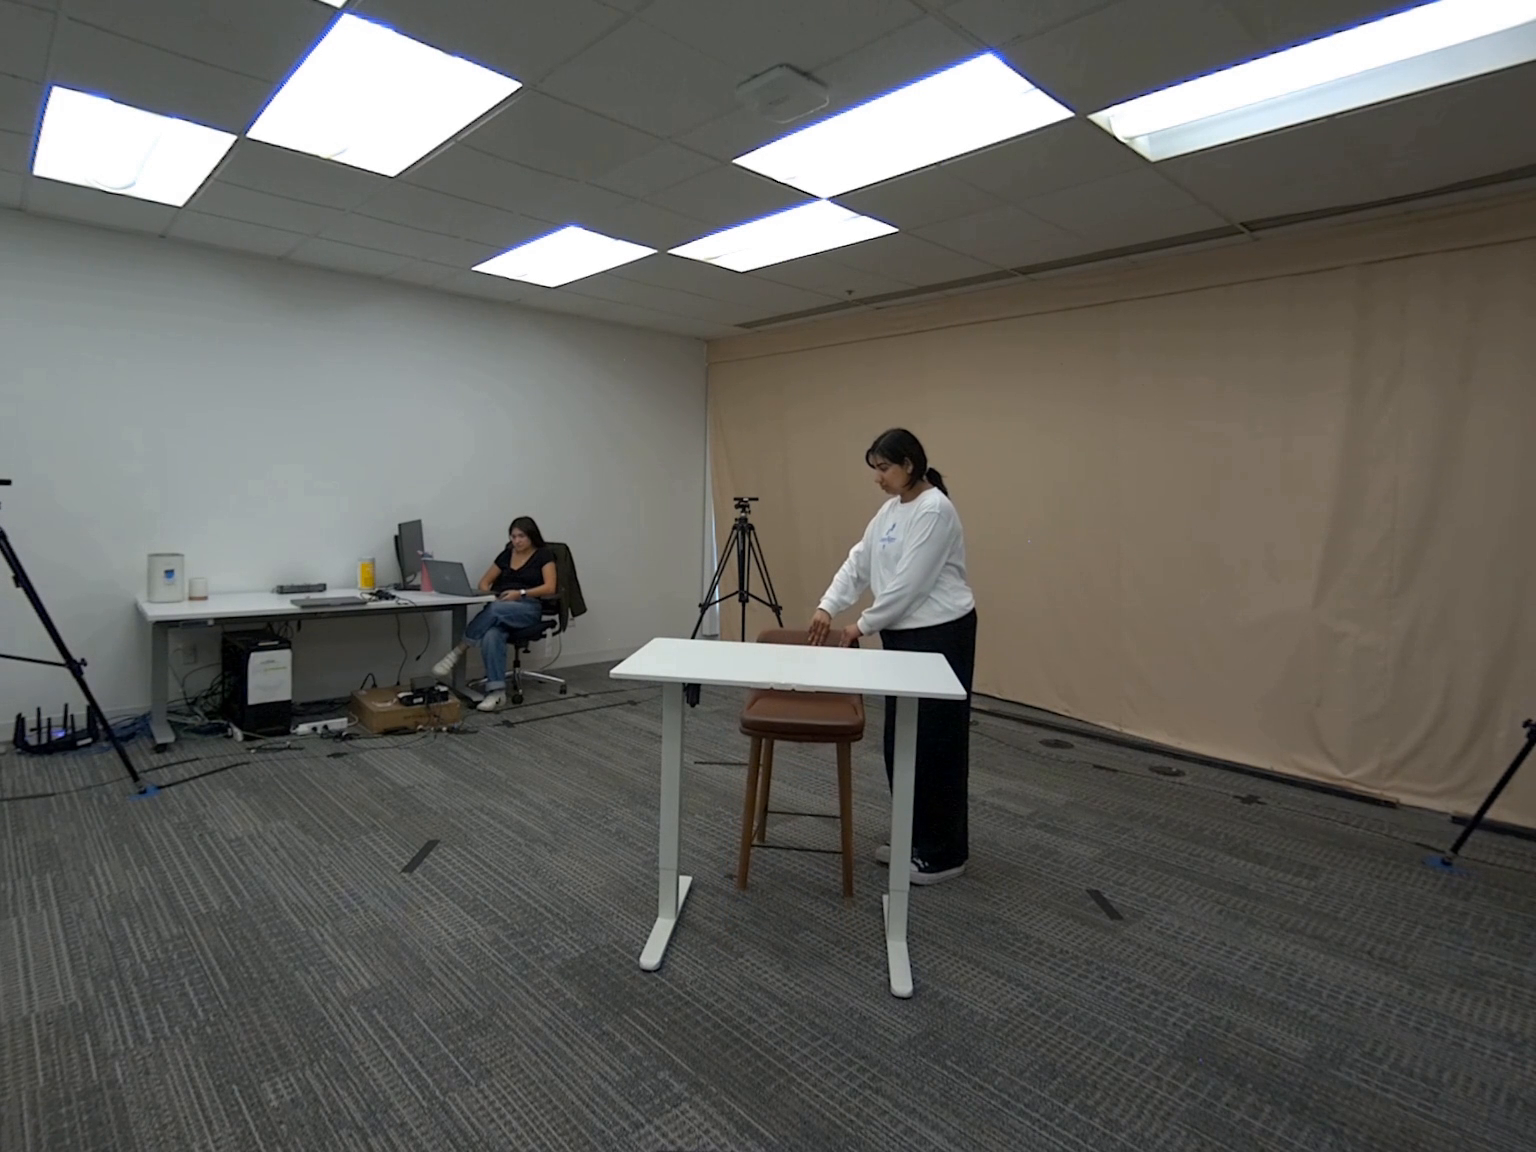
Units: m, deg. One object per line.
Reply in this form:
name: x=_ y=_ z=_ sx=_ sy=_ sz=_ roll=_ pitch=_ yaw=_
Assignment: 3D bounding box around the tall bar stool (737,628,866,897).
tall bar stool: x=0.129 y=0.671 z=3.187 sx=0.460 sy=0.889 sz=0.464 roll=2 pitch=1 yaw=8
